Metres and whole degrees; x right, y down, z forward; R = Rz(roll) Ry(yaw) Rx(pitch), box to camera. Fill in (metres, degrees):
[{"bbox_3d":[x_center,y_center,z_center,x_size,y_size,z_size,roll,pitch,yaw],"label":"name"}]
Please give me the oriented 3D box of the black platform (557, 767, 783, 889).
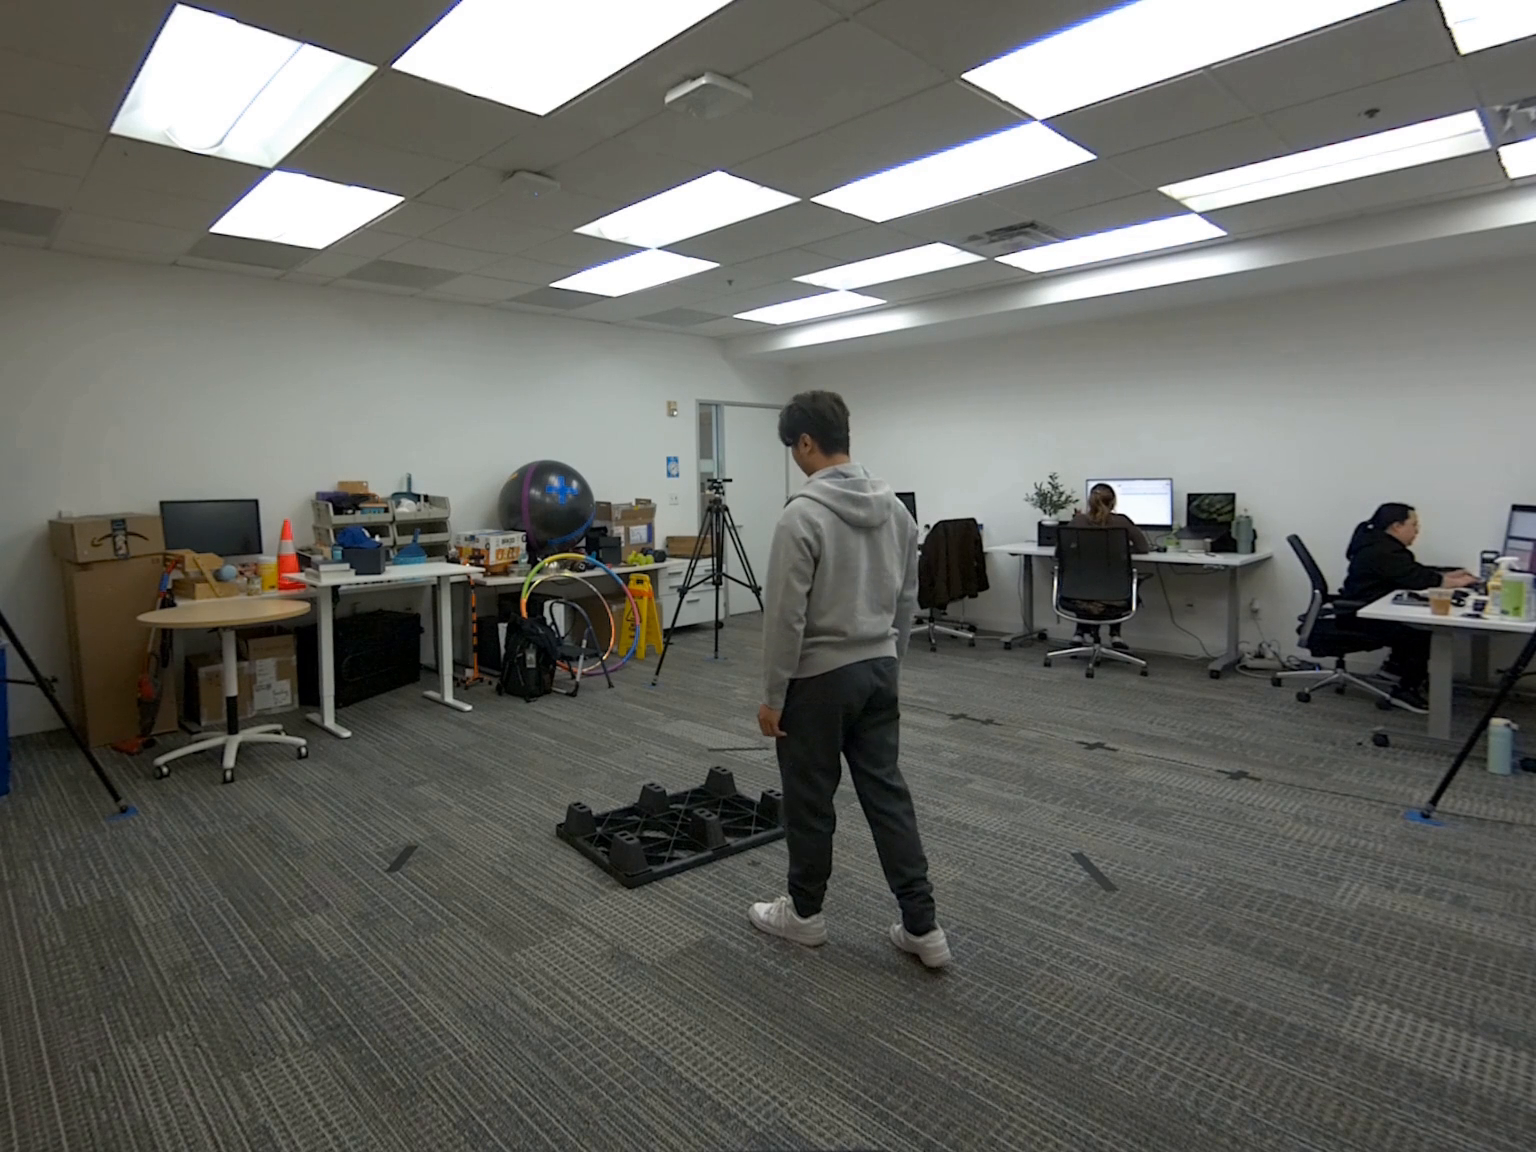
[{"bbox_3d":[-0.352,0.953,3.394,0.785,0.143,0.624,-5,8,-38],"label":"black platform"}]
